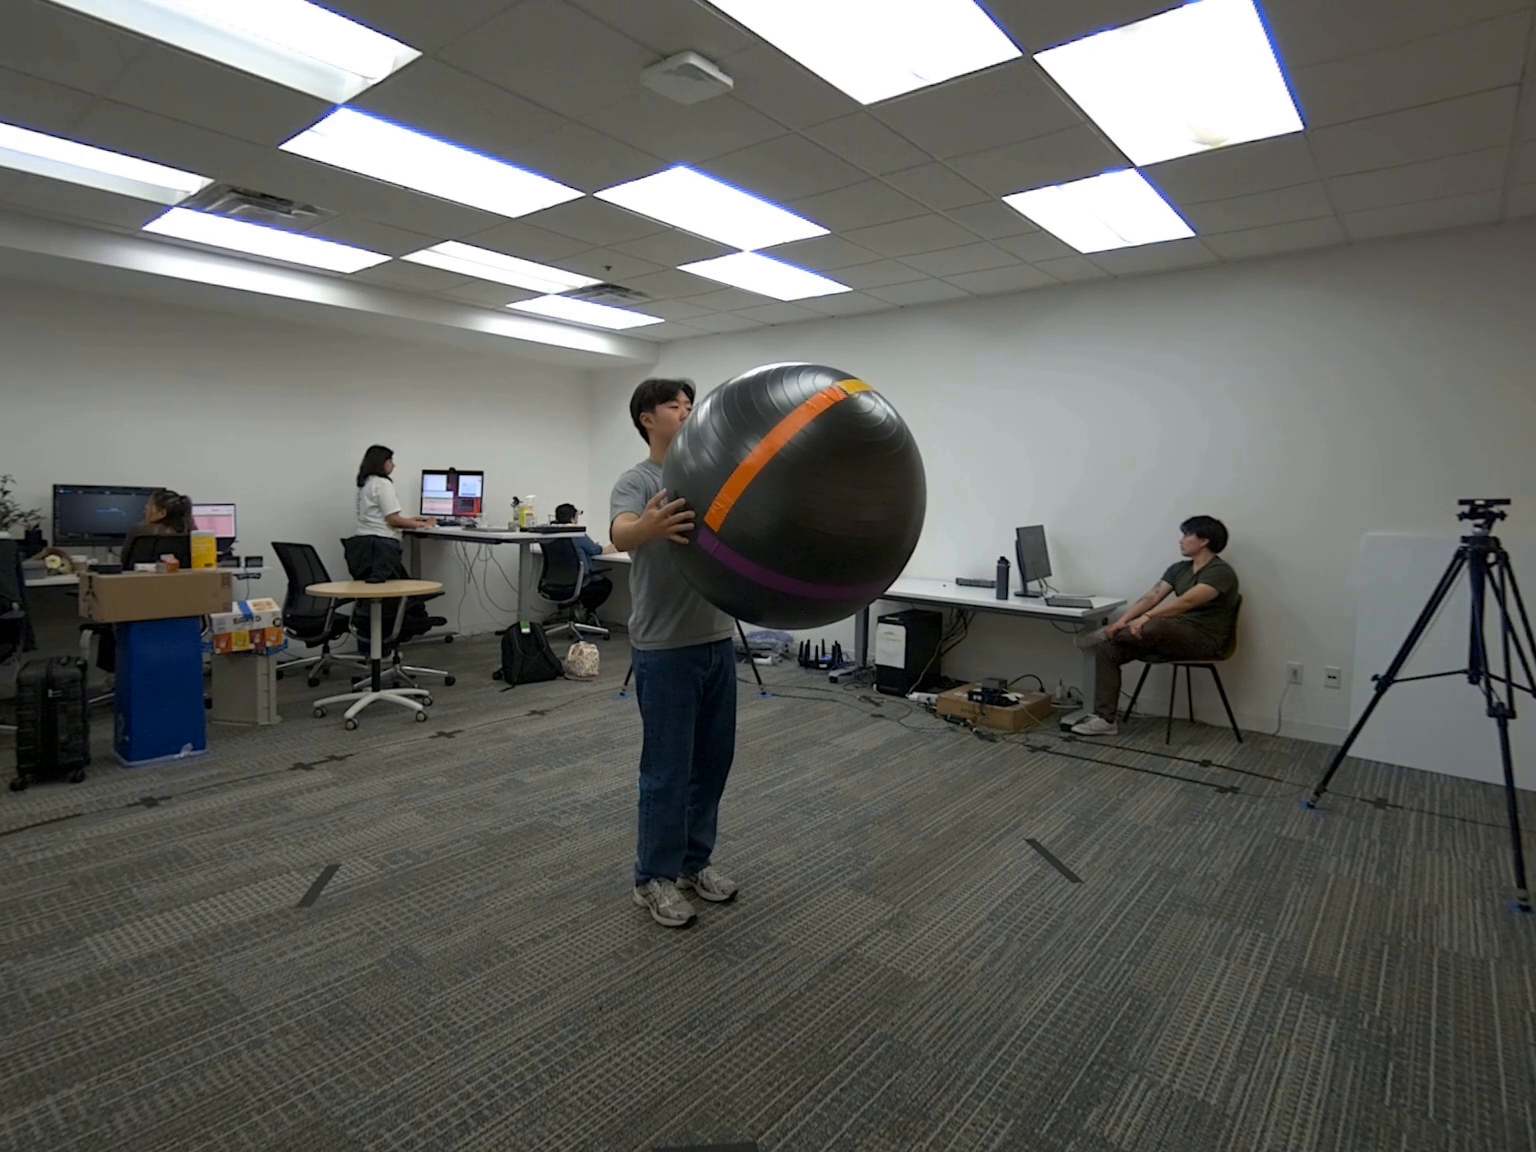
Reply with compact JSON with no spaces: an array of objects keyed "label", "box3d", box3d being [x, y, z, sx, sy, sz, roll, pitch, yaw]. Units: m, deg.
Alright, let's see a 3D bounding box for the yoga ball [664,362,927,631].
[{"label":"yoga ball","box3d":[0.065,-0.221,2.423,0.757,0.756,0.761,1,4,-2]}]
